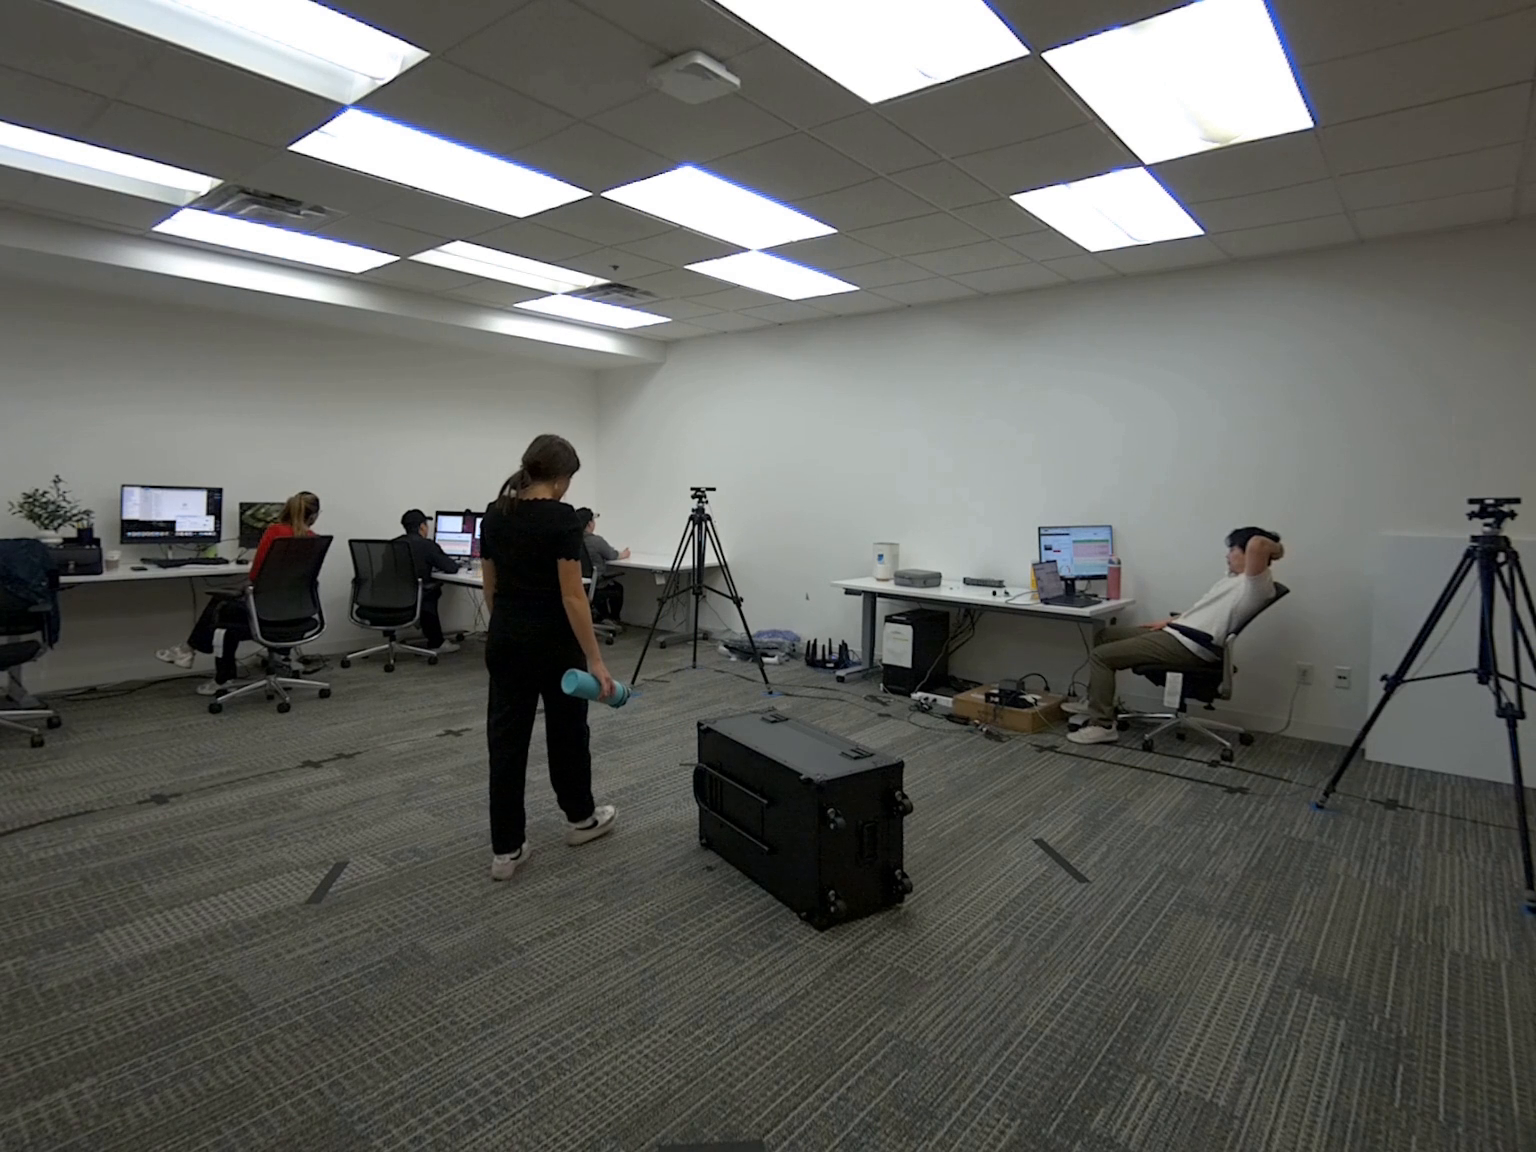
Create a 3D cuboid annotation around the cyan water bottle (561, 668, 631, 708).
[{"bbox_3d":[-0.617,0.406,3.043,0.095,0.093,0.272,4,-16,39],"label":"cyan water bottle"}]
